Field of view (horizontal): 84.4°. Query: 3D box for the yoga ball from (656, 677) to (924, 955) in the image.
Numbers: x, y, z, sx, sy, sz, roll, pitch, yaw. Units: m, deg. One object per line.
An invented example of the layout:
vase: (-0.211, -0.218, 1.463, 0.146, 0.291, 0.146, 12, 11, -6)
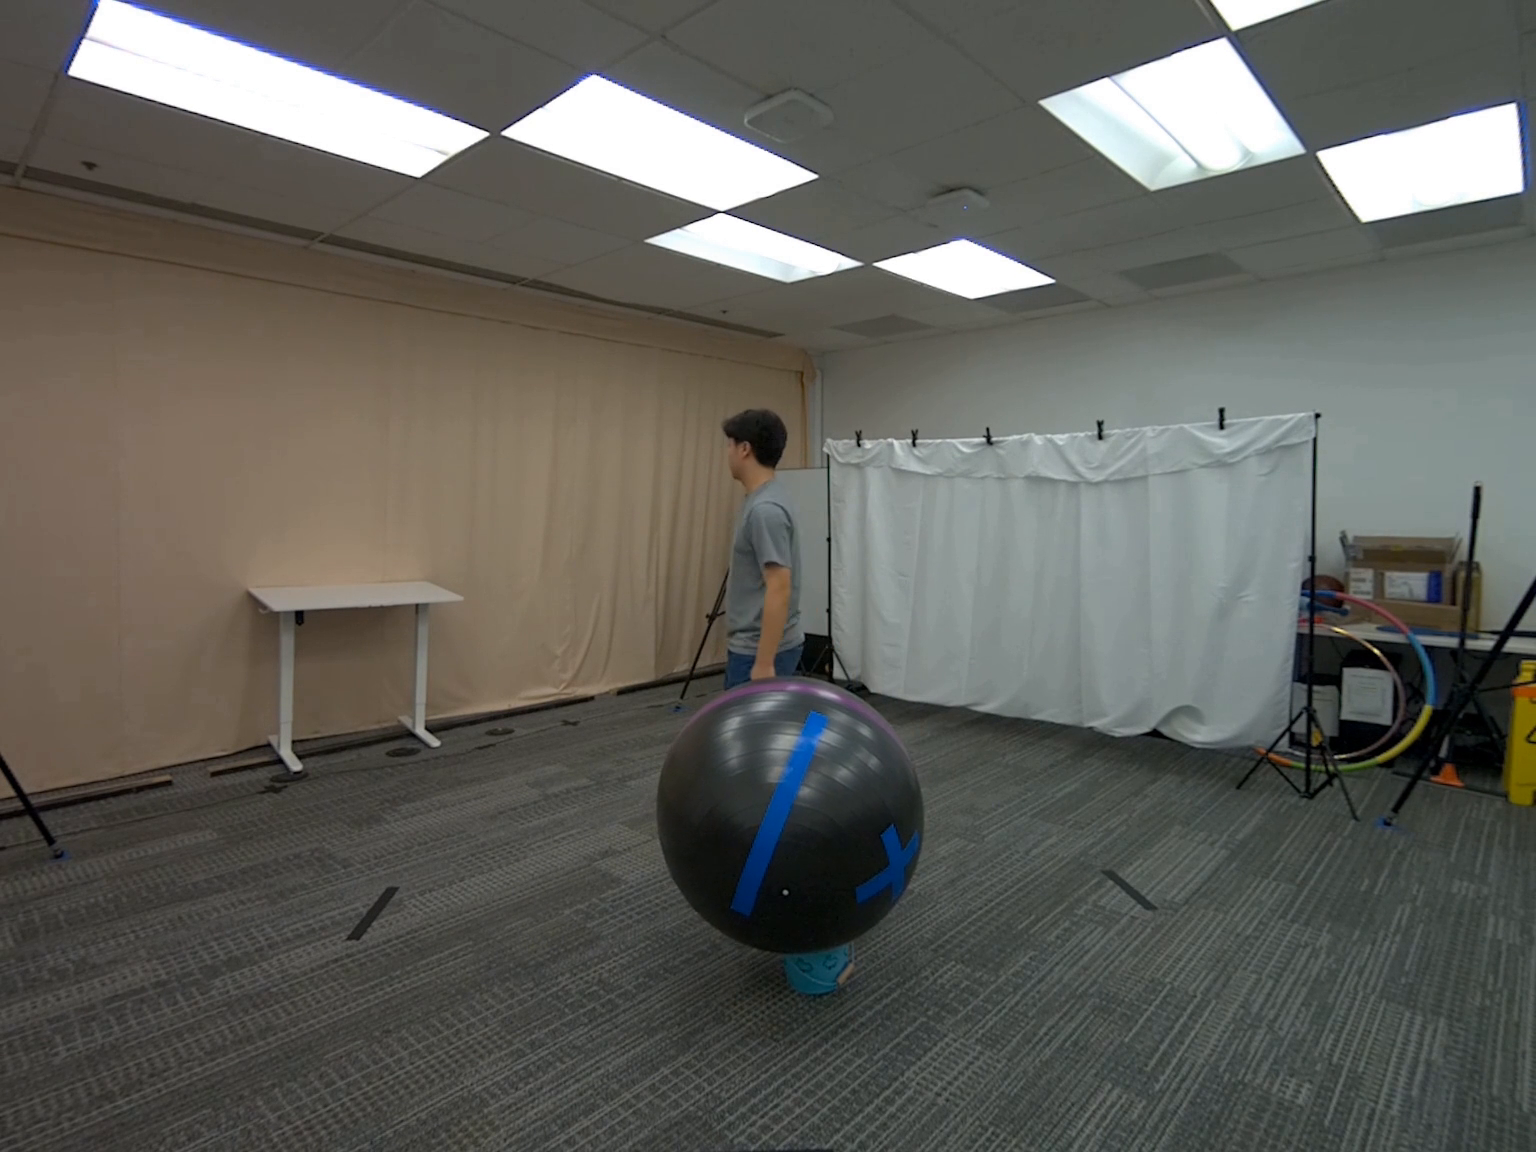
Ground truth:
yoga ball: (0.066, 0.682, 2.416, 0.757, 0.756, 0.761, 0, 4, -2)
